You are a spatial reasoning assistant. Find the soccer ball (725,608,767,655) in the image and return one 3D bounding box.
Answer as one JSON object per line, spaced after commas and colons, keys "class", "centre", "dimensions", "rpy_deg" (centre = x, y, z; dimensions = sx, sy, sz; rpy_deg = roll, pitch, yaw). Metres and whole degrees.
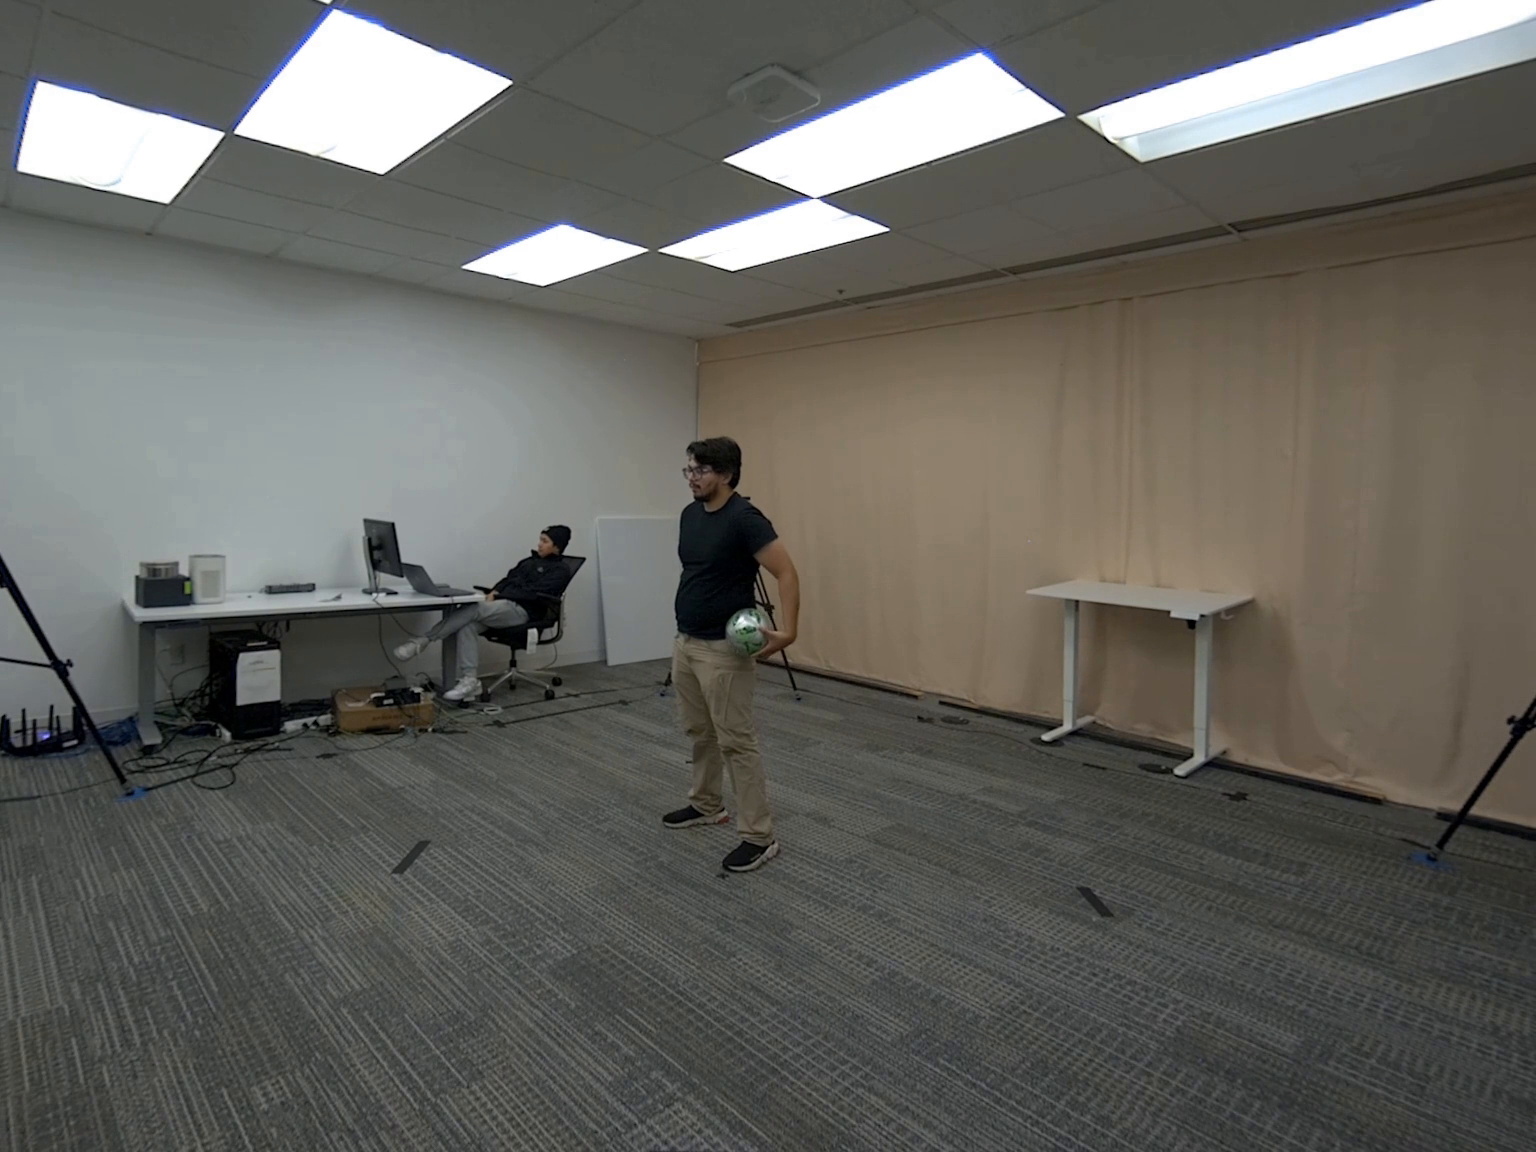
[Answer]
{"class": "soccer ball", "centre": [-0.075, 0.216, 3.182], "dimensions": [0.187, 0.187, 0.188], "rpy_deg": [1, 4, -1]}
